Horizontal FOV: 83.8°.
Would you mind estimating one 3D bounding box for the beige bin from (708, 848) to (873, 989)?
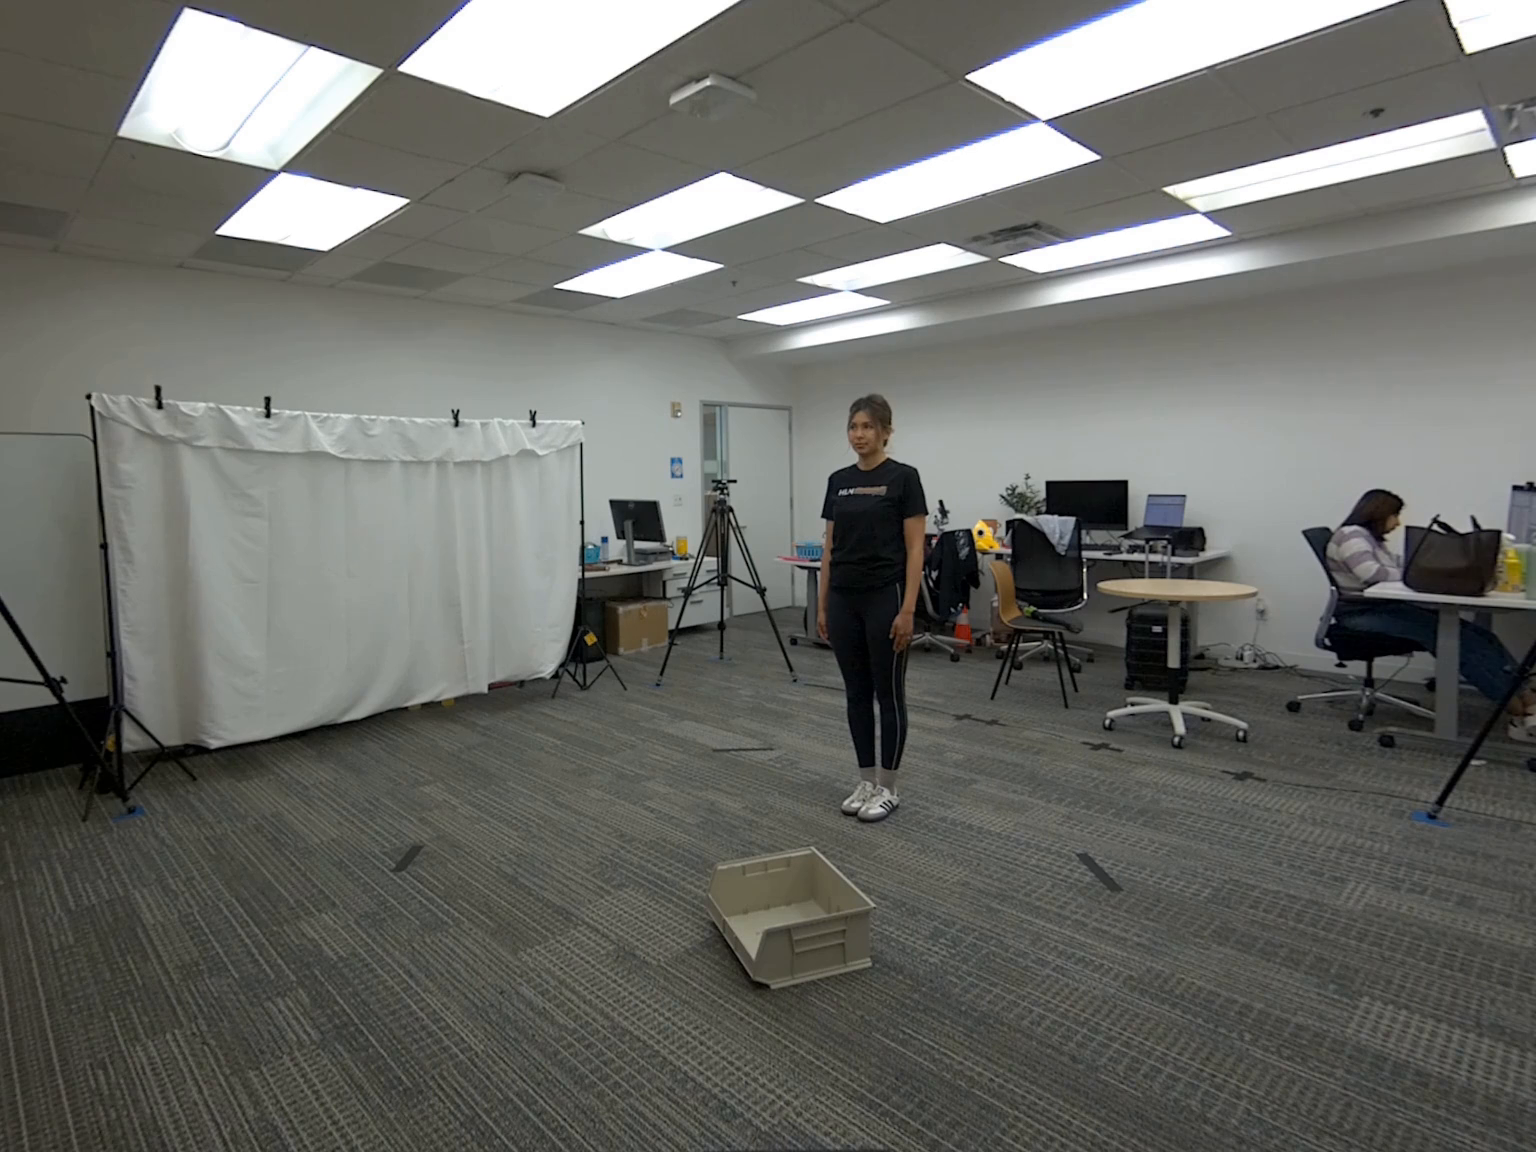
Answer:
[{"bbox_3d":[0.062,1.019,2.571,0.370,0.188,0.432,-3,6,-21],"label":"beige bin"}]
